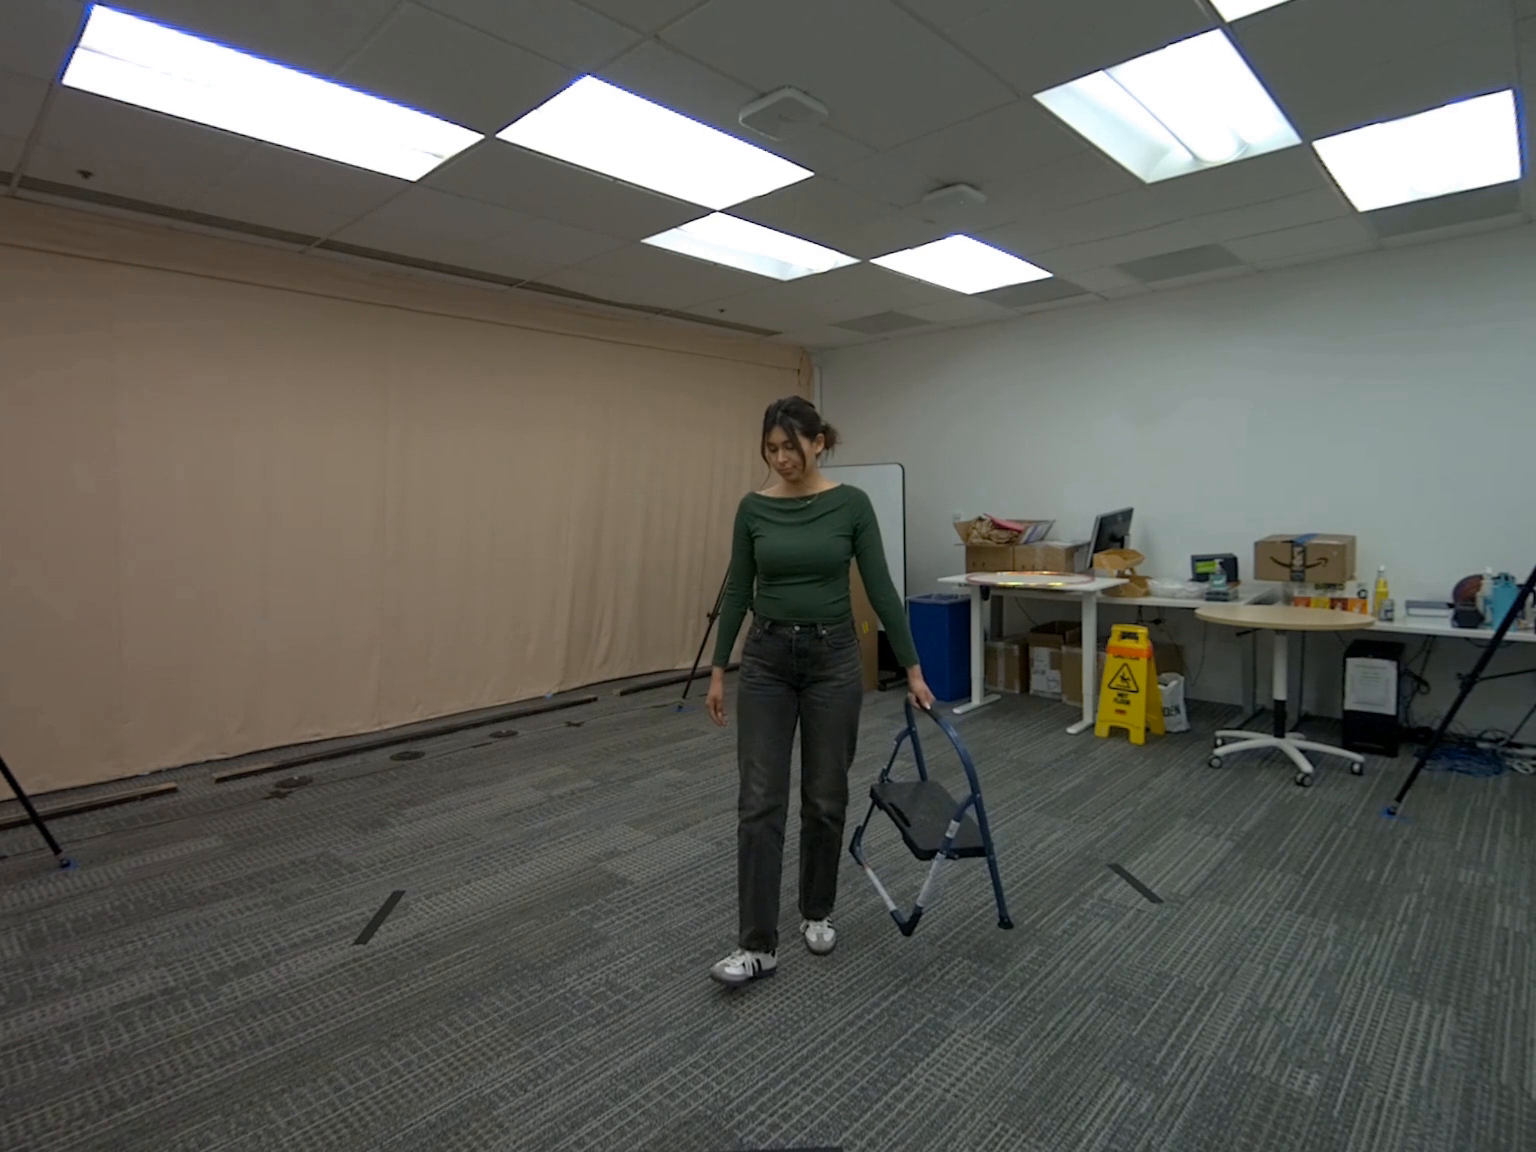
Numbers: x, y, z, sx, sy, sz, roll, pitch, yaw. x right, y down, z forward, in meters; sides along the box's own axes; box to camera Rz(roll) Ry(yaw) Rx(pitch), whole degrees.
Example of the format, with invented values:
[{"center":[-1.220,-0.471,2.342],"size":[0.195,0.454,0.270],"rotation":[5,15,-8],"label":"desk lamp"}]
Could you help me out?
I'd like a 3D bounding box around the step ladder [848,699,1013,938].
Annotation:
[{"center":[0.521,0.674,2.508],"size":[0.343,0.601,0.442],"rotation":[1,16,-19],"label":"step ladder"}]
